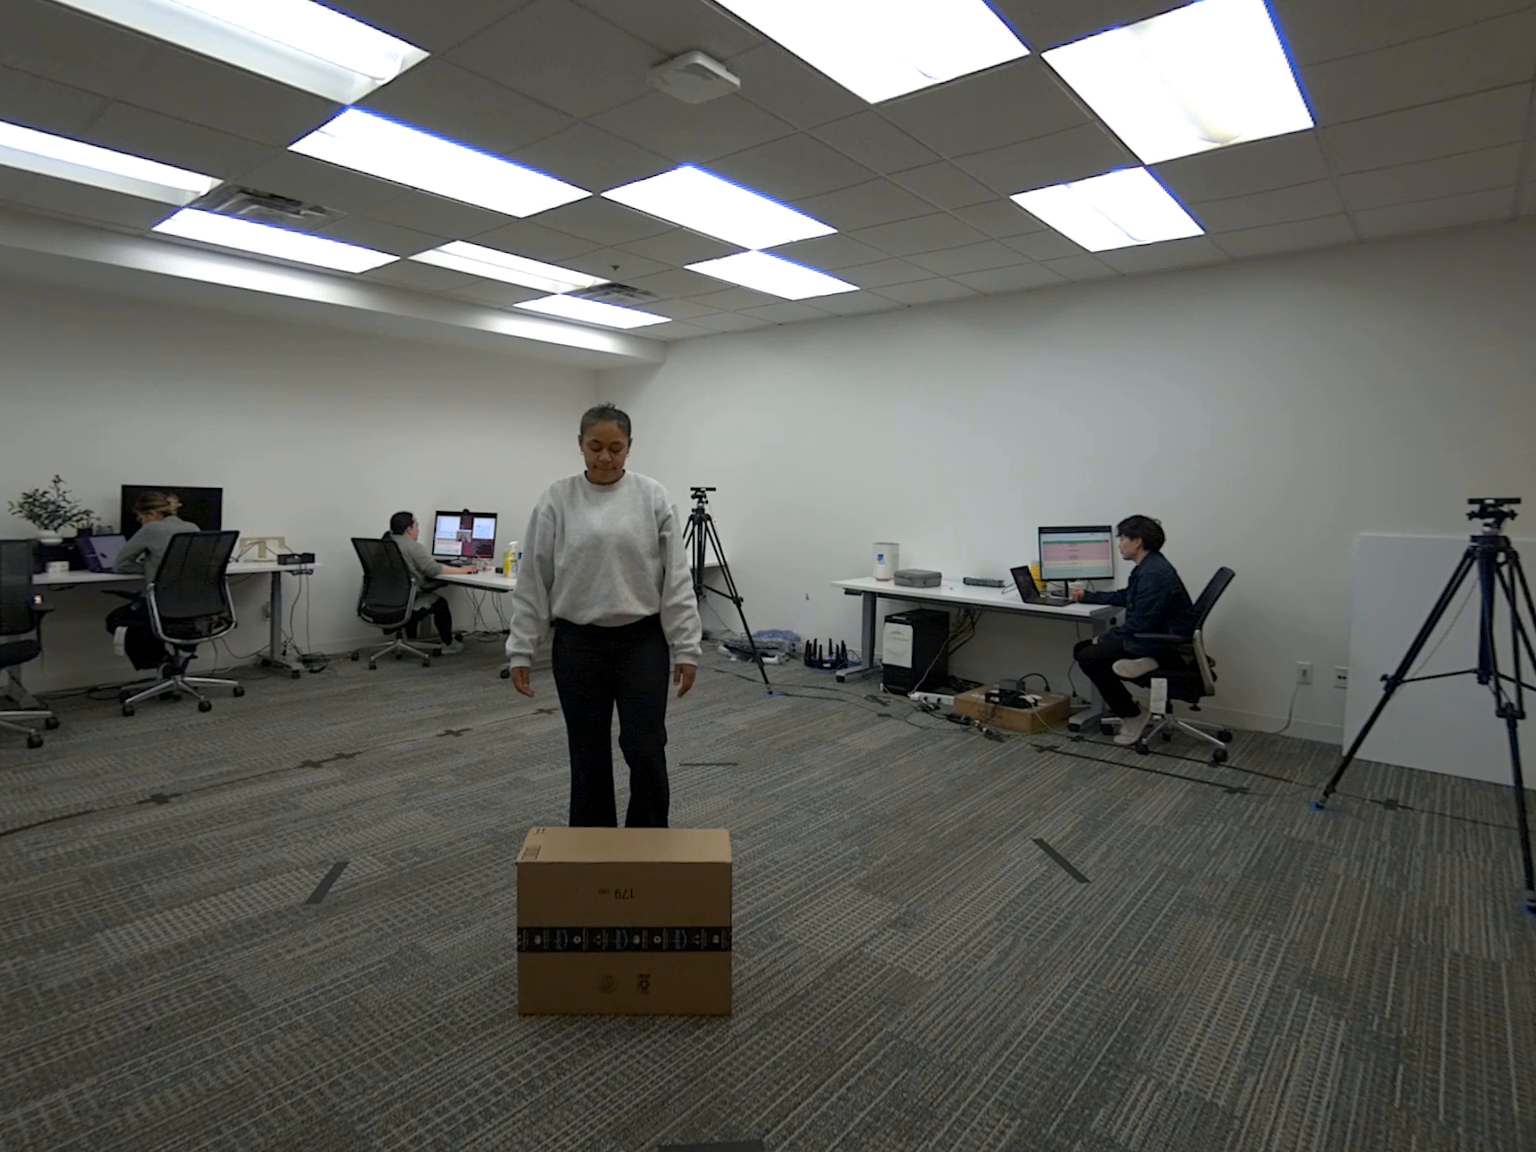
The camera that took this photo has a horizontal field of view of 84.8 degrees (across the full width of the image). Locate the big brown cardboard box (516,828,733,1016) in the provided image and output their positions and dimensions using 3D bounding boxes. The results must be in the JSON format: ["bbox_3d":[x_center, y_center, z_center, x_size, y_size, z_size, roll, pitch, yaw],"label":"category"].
[{"bbox_3d":[-0.393,0.936,2.321,0.588,0.415,0.234,1,5,-1],"label":"big brown cardboard box"}]
